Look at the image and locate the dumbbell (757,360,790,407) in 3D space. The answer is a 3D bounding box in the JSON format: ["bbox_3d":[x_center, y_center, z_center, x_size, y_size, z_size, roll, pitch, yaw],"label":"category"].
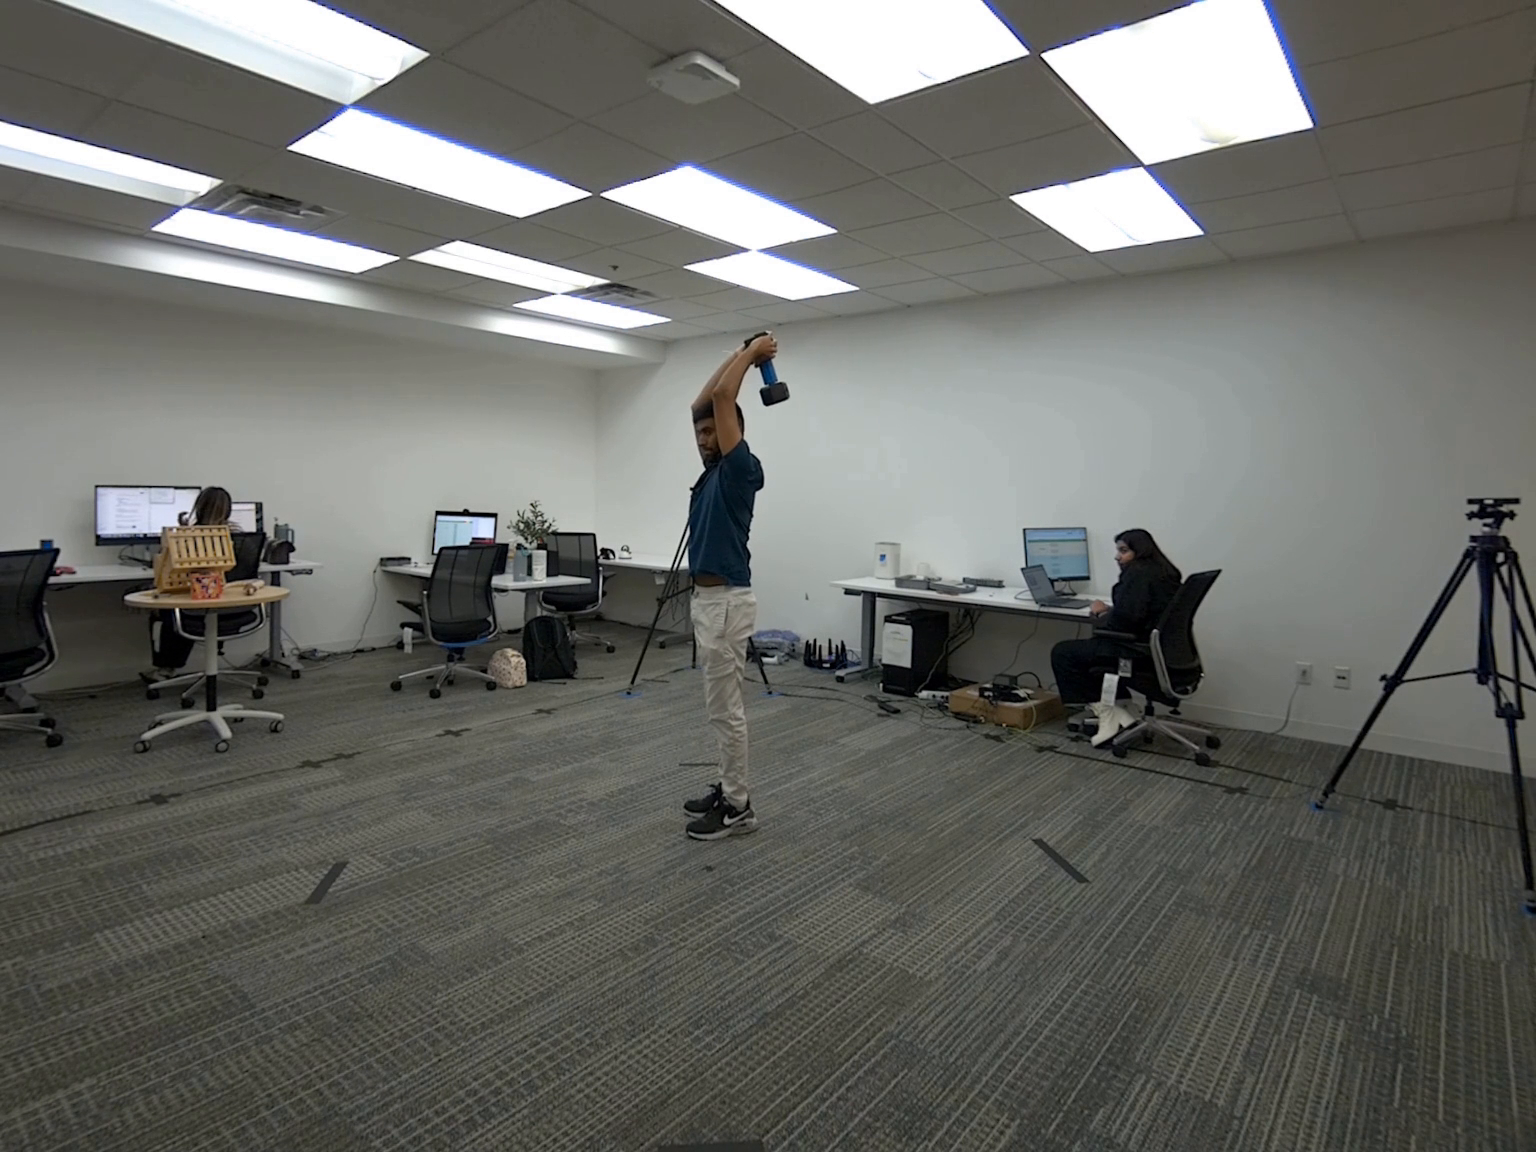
[{"bbox_3d":[-0.009,-0.843,3.510,0.122,0.291,0.110,-21,6,-13],"label":"dumbbell"}]
